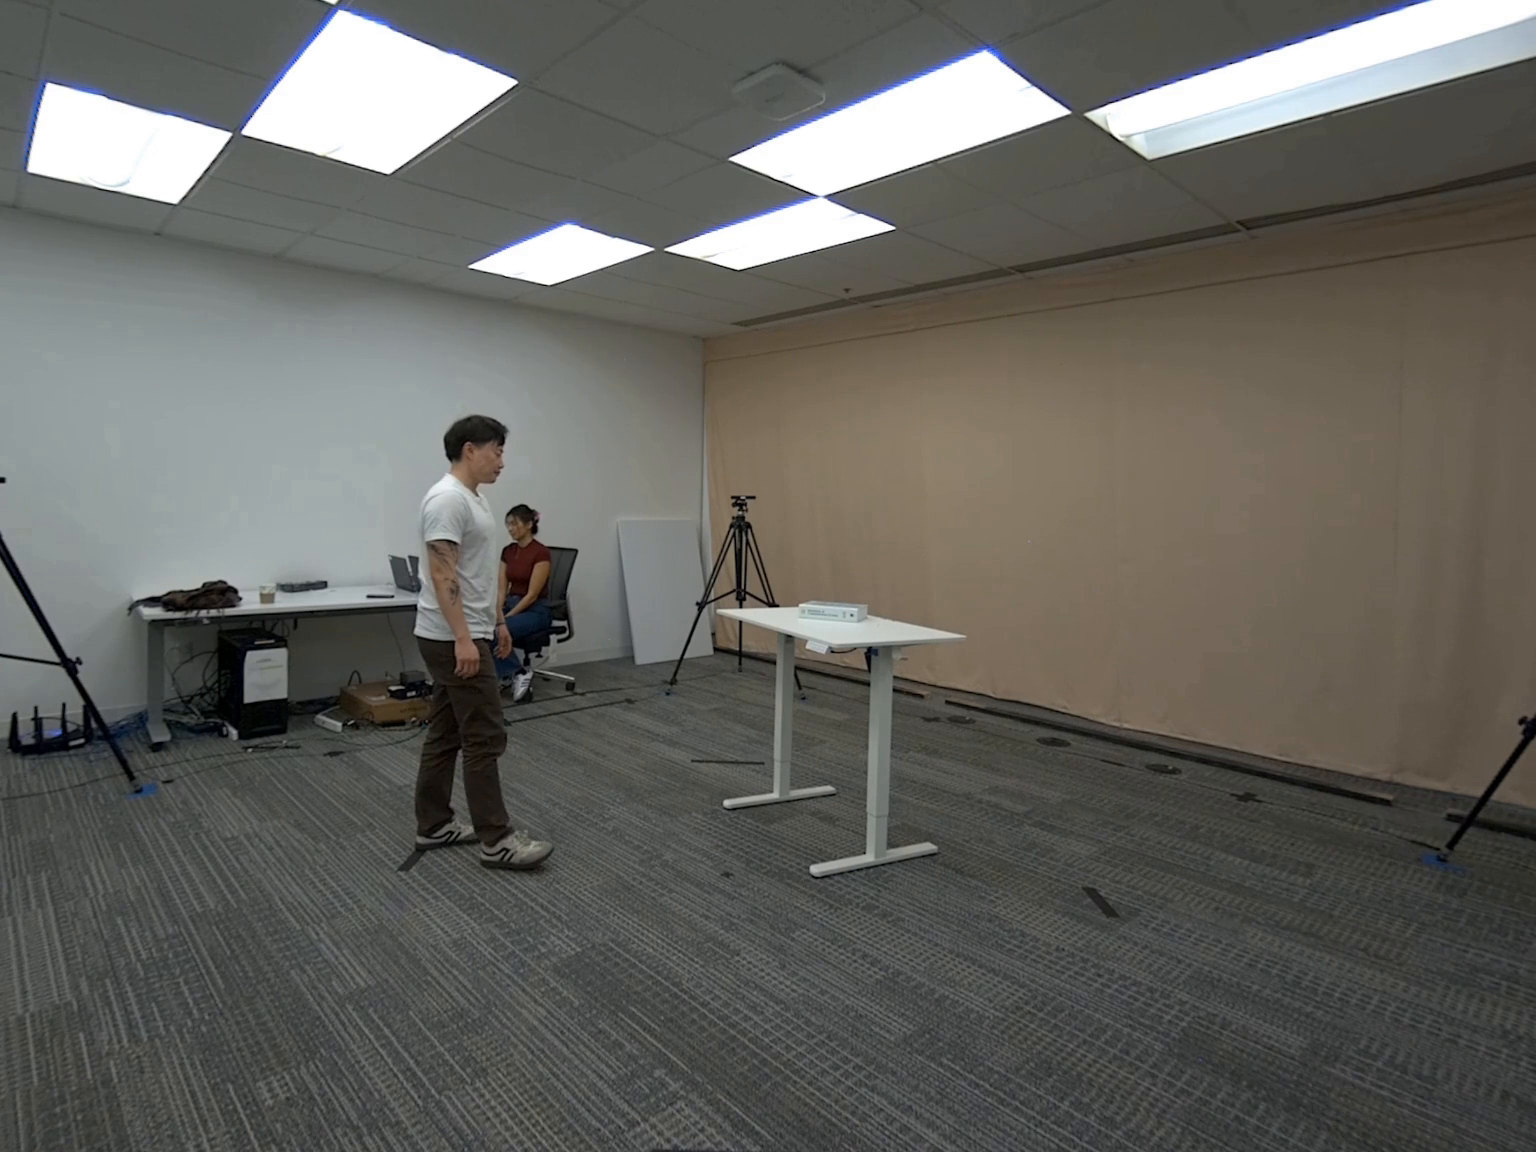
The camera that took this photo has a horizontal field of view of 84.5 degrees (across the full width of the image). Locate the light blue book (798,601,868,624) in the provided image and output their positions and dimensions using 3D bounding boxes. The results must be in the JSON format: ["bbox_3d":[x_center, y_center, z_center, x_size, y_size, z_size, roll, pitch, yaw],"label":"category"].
[{"bbox_3d":[0.269,0.154,3.684,0.265,0.059,0.189,3,5,20],"label":"light blue book"}]
